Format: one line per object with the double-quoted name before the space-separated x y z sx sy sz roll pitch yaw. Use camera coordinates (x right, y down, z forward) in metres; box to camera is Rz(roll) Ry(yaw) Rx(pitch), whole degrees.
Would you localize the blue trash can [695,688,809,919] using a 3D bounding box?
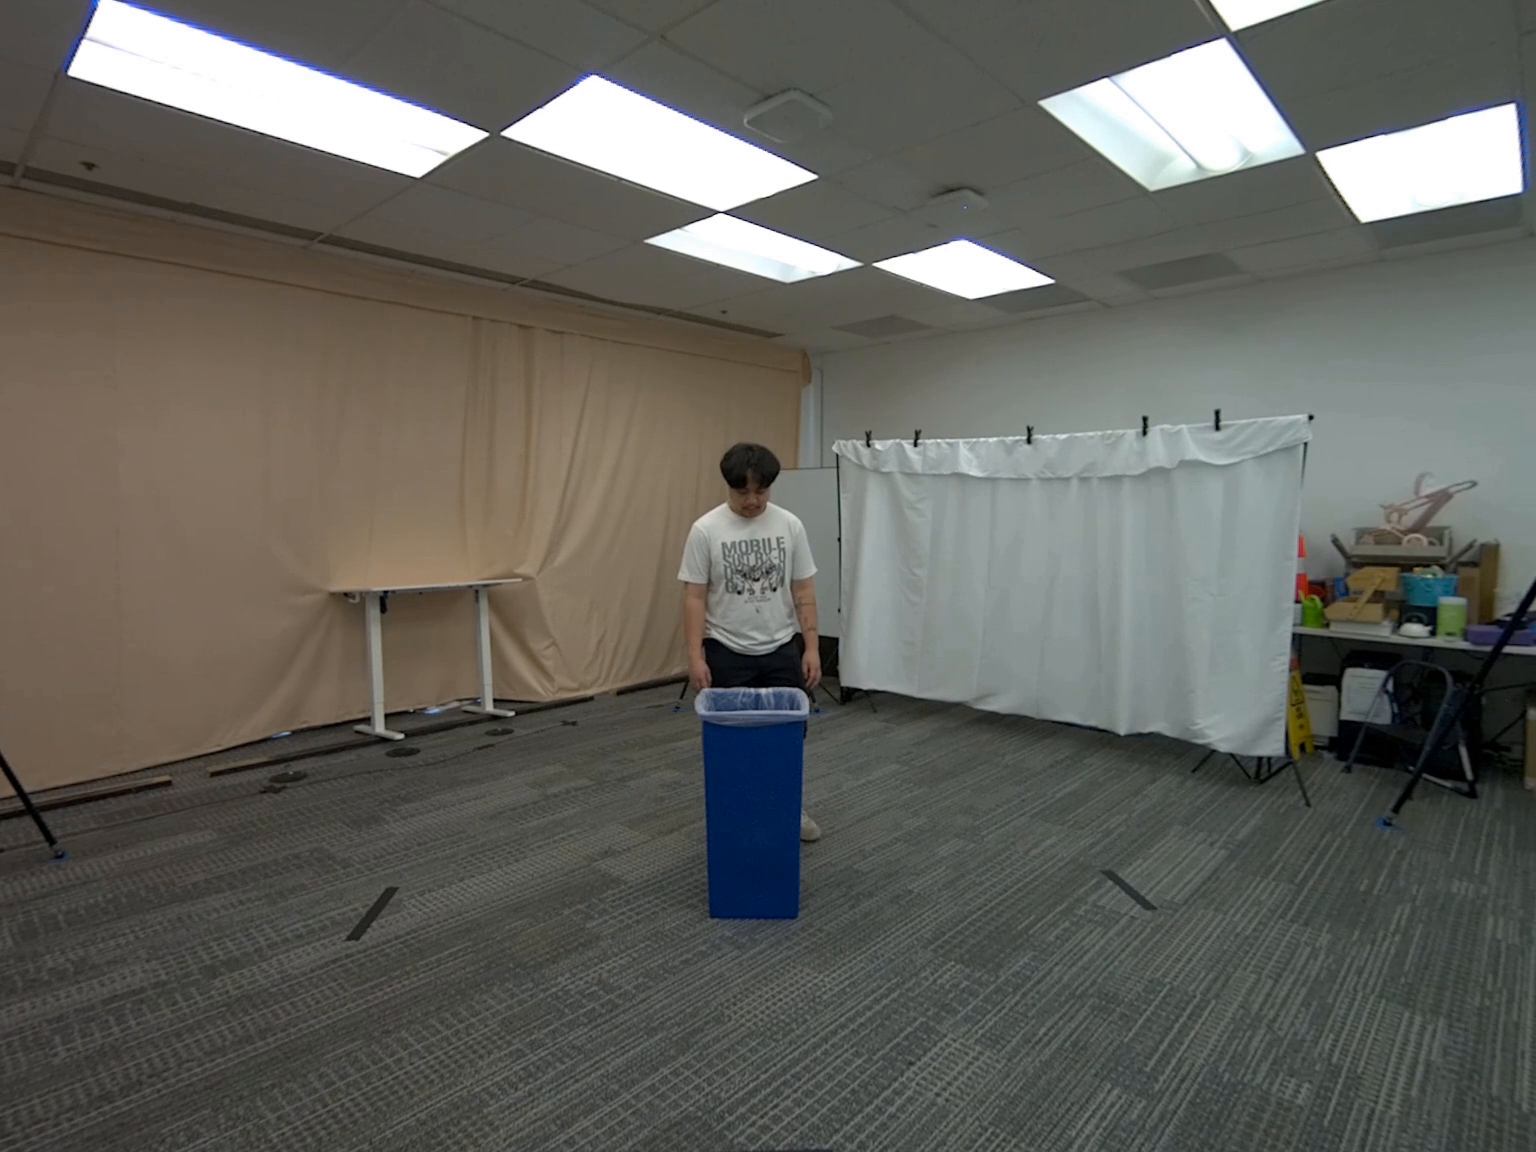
"blue trash can" -0.050 0.786 2.968 0.378 0.712 0.375 0 3 -1
